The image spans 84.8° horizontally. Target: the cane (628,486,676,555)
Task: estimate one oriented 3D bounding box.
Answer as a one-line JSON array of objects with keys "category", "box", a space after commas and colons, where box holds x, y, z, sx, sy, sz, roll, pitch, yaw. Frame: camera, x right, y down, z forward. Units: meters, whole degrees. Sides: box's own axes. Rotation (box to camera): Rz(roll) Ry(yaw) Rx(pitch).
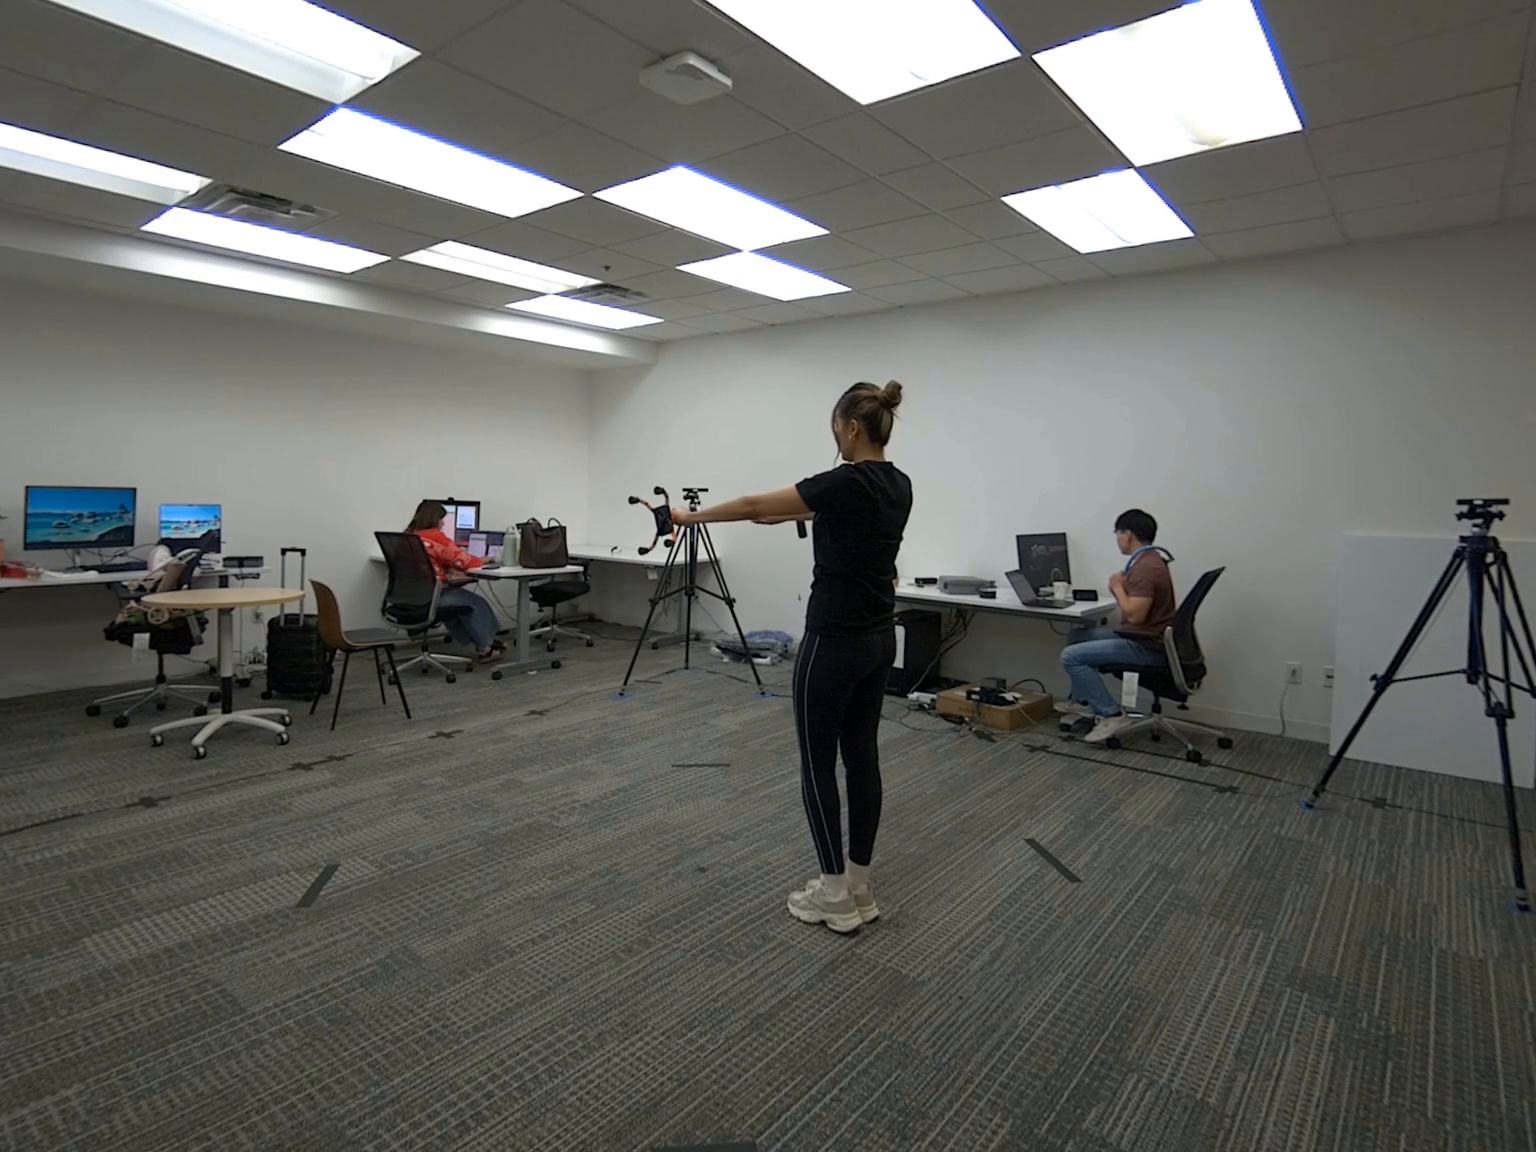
[{"category": "cane", "box": [-0.143, -0.221, 3.187, 0.155, 0.208, 0.881, -17, -7, 37]}]
